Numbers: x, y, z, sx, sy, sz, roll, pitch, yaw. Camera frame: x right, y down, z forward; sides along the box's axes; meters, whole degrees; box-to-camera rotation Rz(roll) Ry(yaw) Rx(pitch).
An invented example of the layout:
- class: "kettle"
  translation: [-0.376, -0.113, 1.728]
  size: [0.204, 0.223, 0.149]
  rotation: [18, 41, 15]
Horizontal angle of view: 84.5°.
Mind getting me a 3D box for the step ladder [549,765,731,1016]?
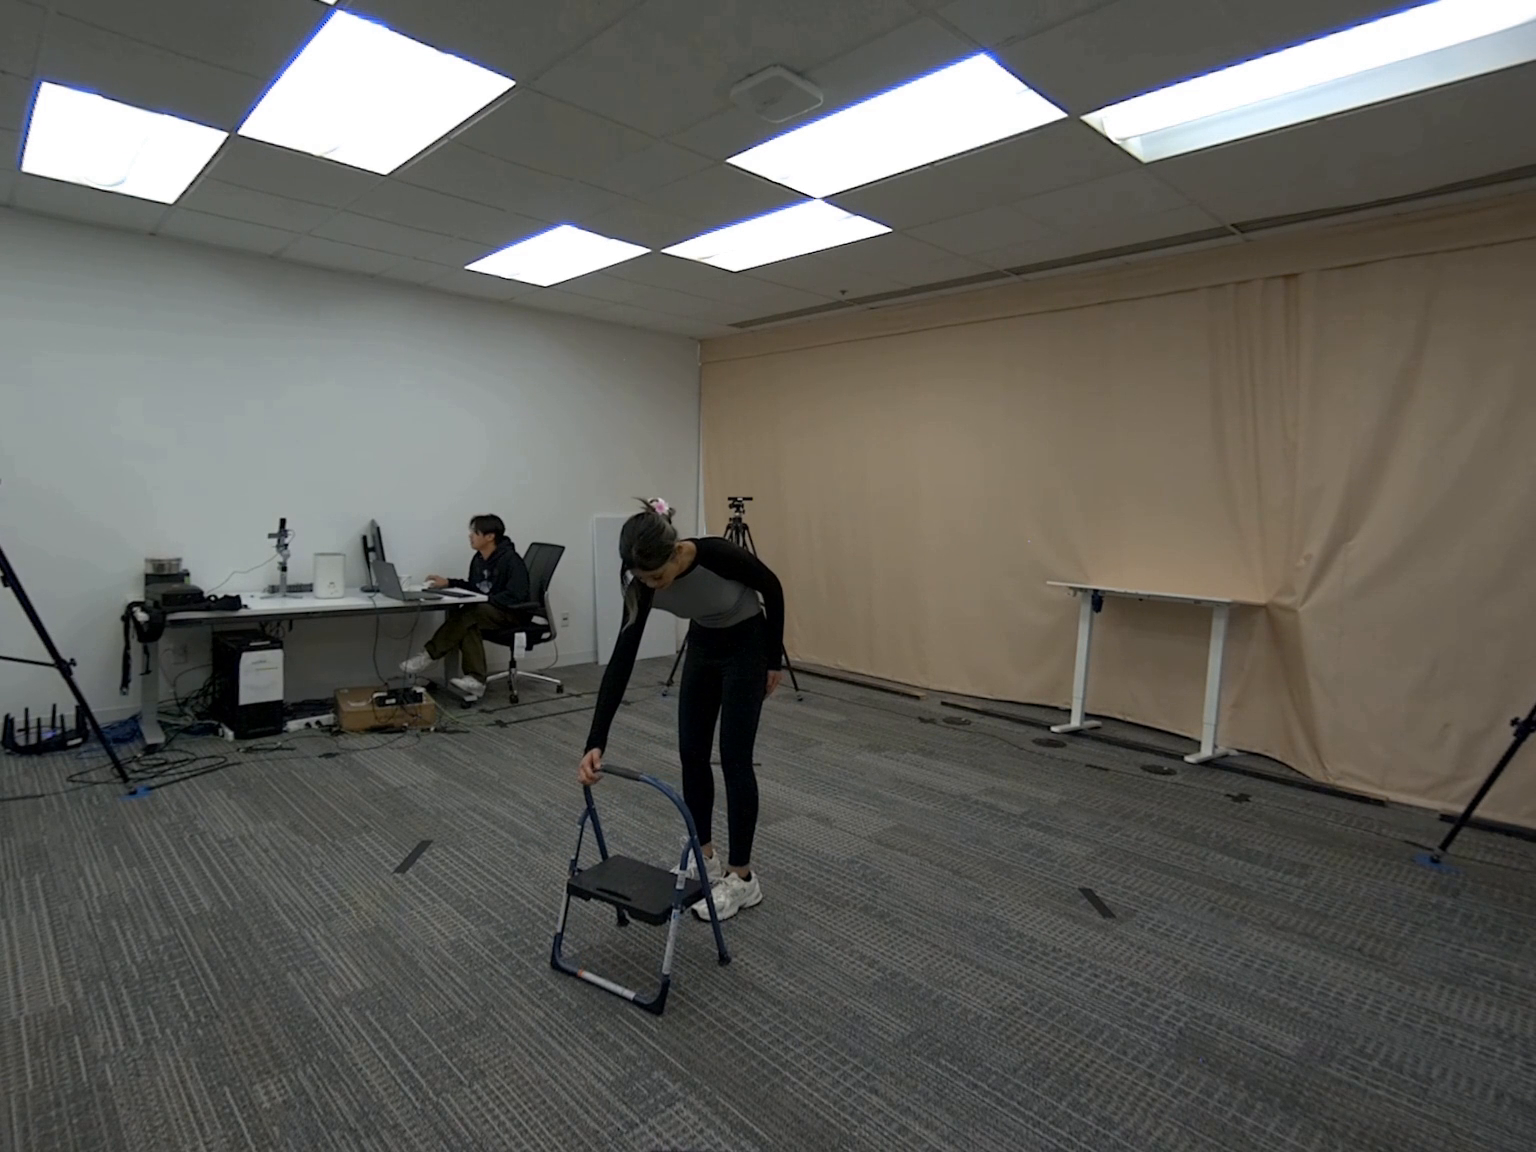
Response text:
- class: "step ladder"
  translation: [-0.383, 0.856, 2.489]
  size: [0.440, 0.605, 0.342]
  rotation: [3, 4, 32]
